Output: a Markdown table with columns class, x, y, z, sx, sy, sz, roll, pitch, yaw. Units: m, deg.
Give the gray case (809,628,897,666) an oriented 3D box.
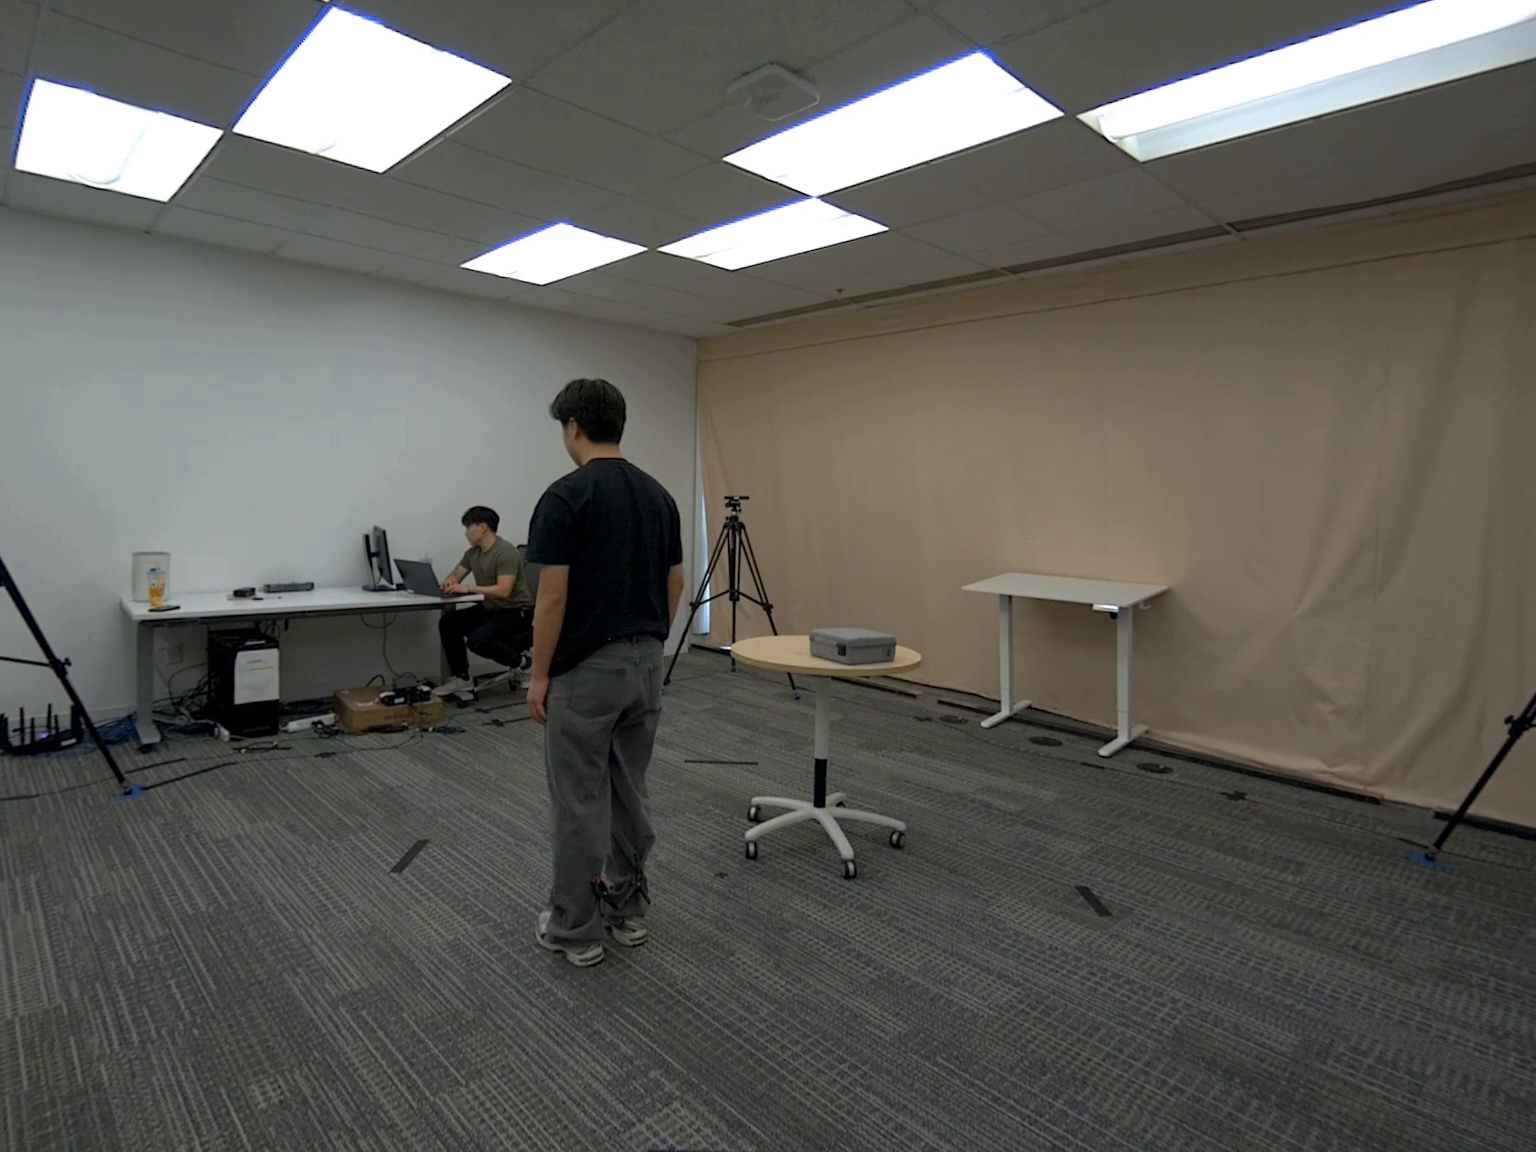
| class | x | y | z | sx | sy | sz | roll | pitch | yaw |
| --- | --- | --- | --- | --- | --- | --- | --- | --- | --- |
| gray case | 0.335 | 0.268 | 3.262 | 0.281 | 0.103 | 0.269 | 0 | 5 | -34 |
